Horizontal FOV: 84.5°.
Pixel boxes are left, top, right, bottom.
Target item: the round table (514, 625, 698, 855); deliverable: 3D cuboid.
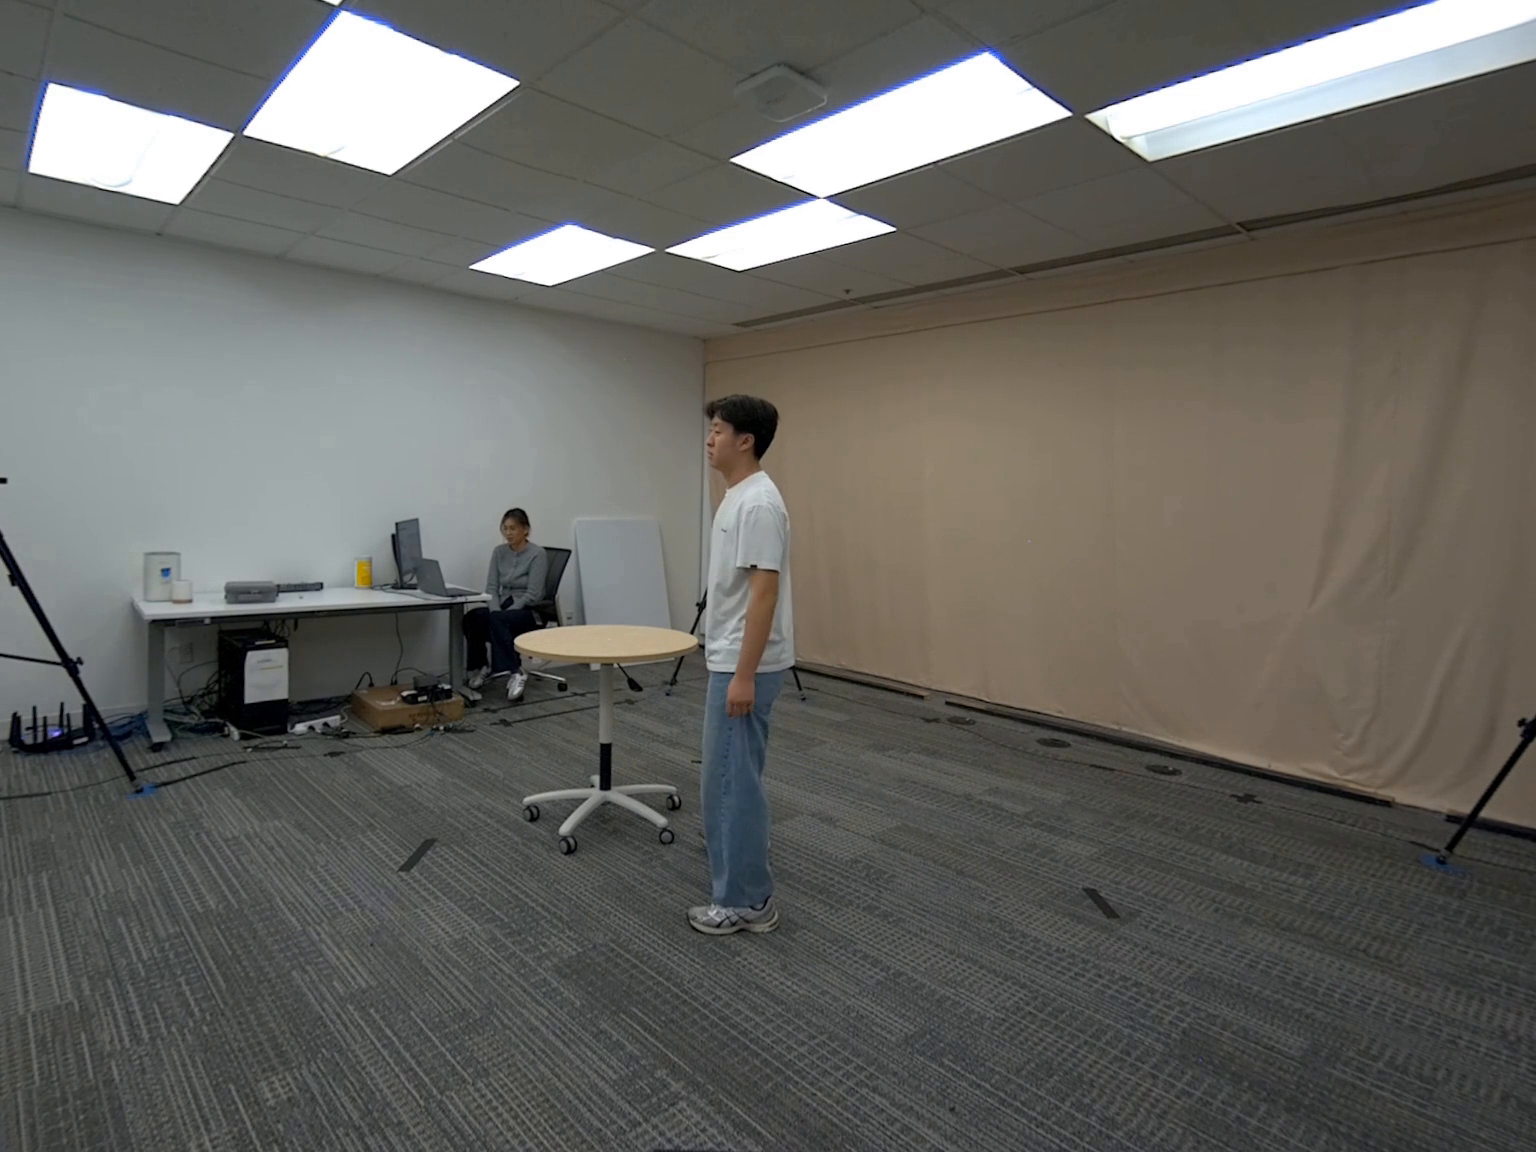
[{"bbox_3d":[-0.692,0.662,3.568,0.763,0.792,0.766,1,4,-1],"label":"round table"}]
